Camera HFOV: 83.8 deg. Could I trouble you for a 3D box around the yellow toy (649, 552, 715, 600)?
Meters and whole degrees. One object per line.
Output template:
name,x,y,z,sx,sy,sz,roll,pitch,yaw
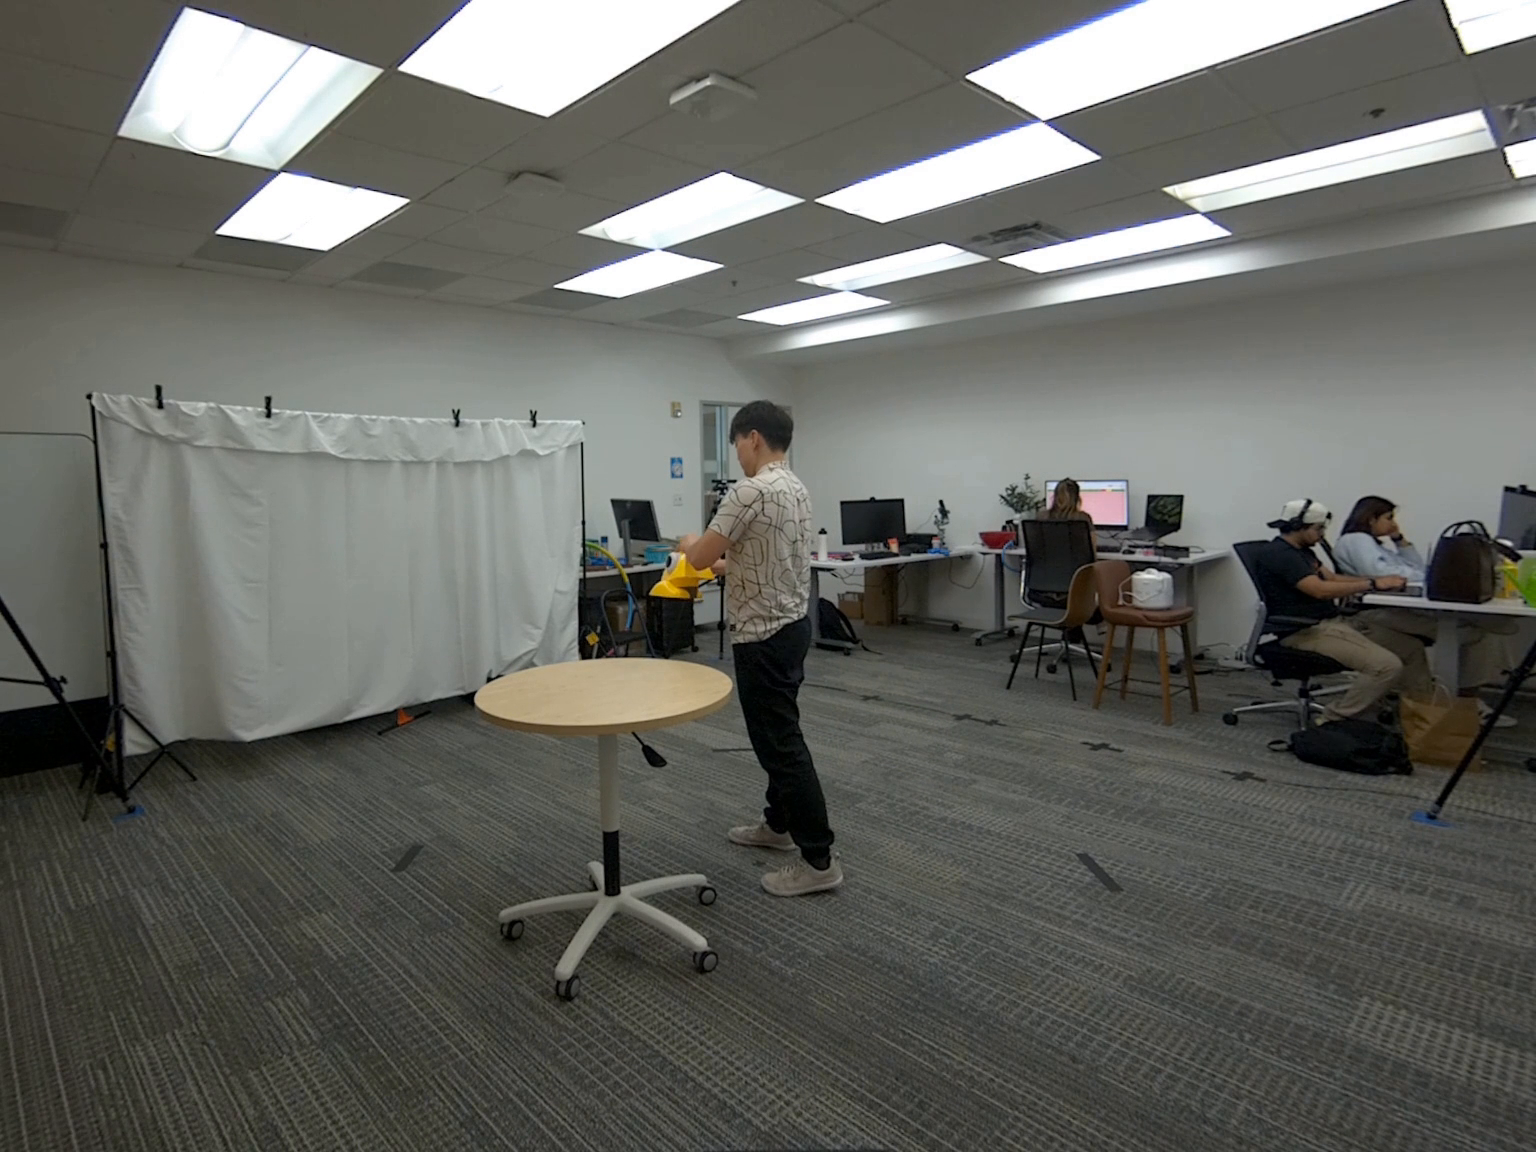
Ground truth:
yellow toy,-0.332,-0.032,3.269,0.198,0.231,0.199,3,-2,32
